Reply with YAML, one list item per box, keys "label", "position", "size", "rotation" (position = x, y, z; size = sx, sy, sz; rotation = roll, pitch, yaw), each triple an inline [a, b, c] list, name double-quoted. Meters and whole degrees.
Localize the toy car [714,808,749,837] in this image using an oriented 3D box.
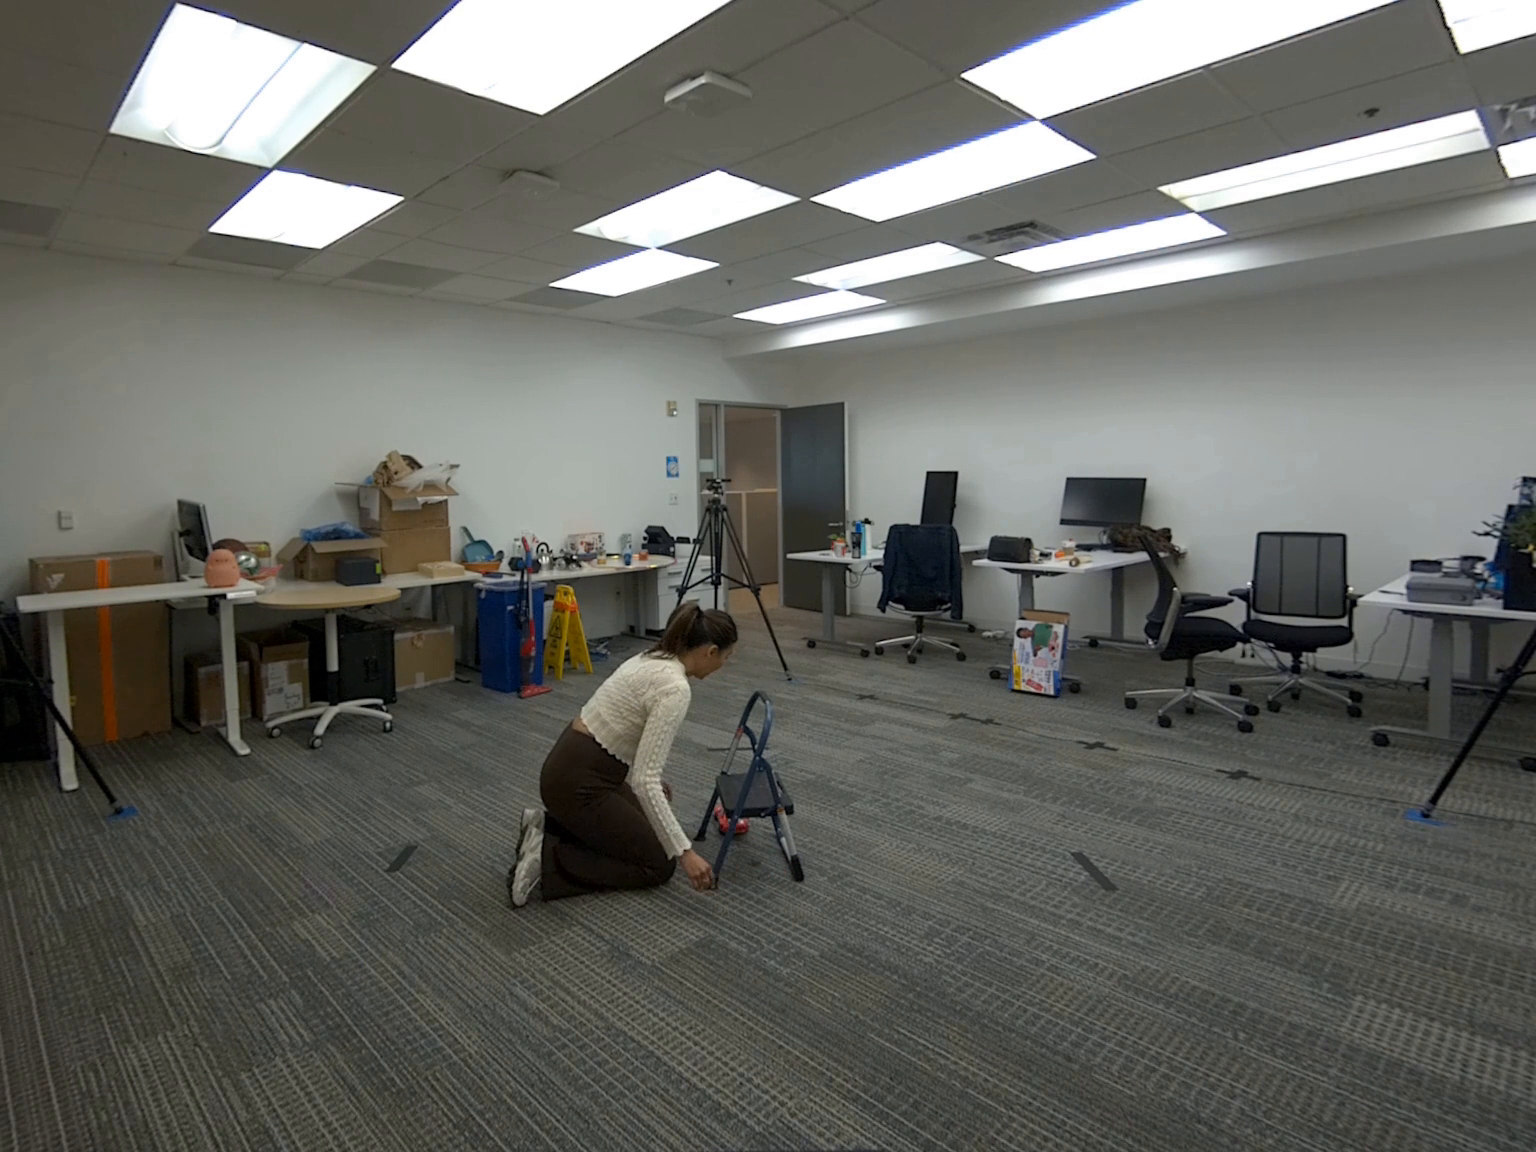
- label: "toy car"
  position: [-0.140, 0.983, 3.402]
  size: [0.129, 0.084, 0.254]
  rotation: [0, -6, -7]
